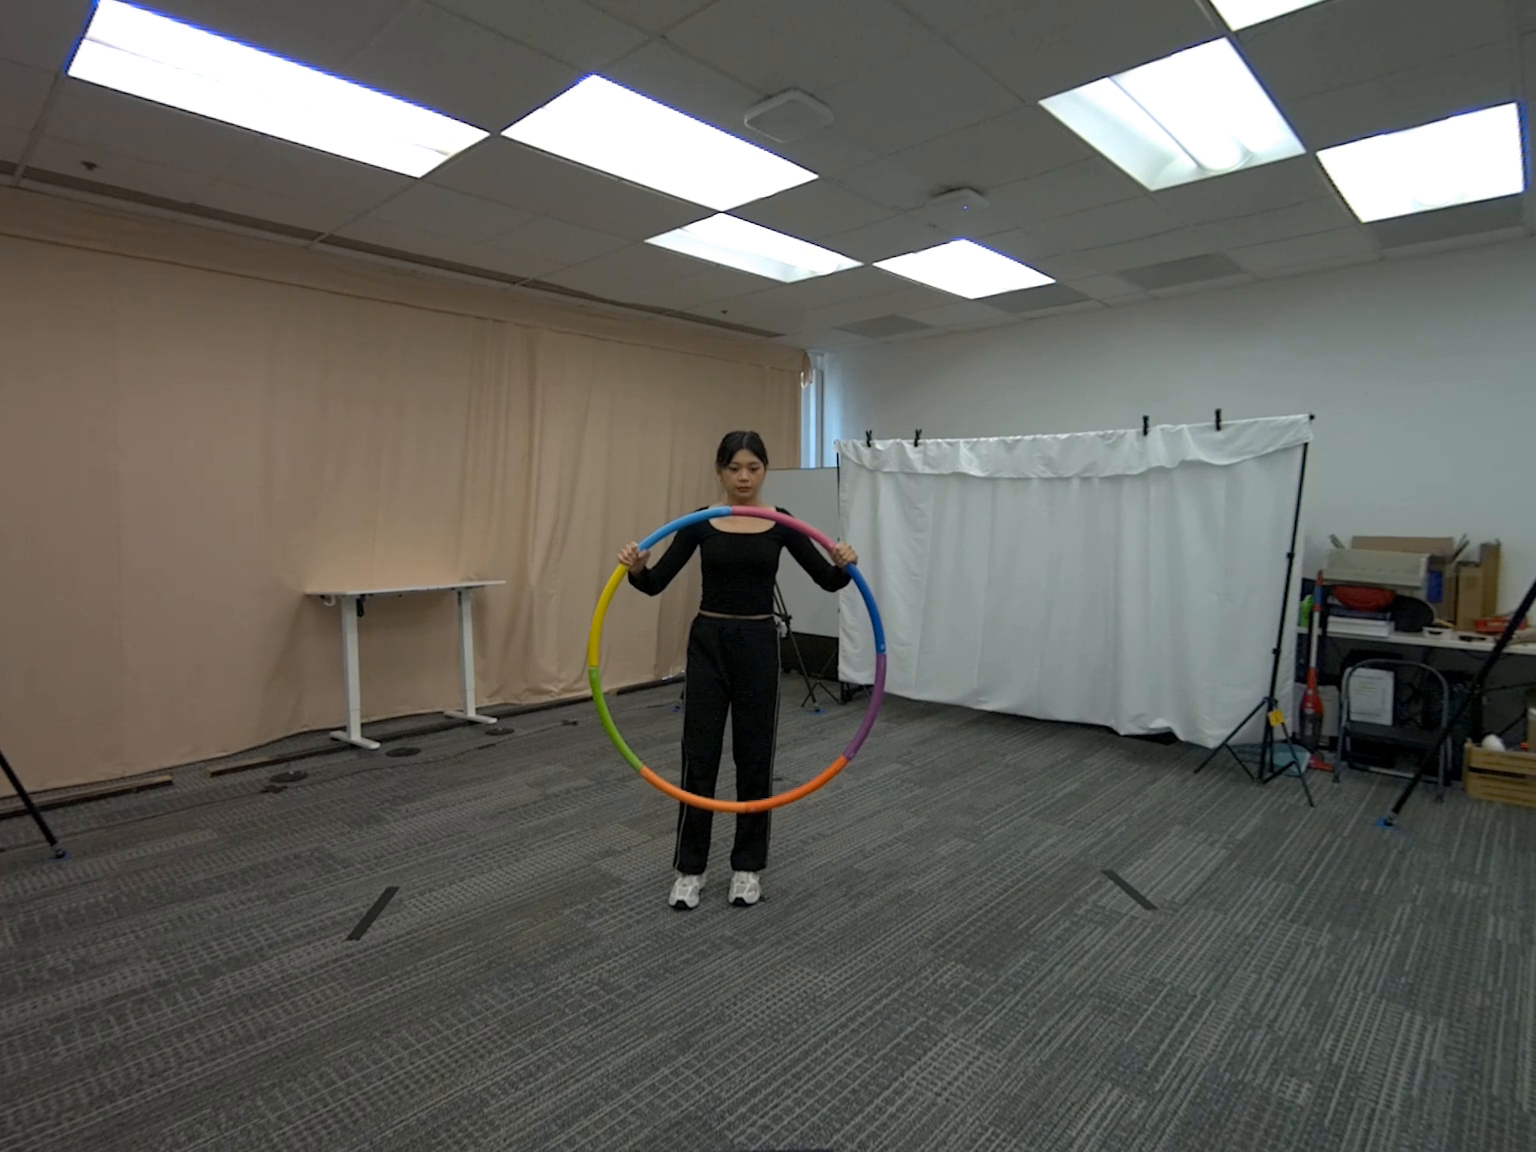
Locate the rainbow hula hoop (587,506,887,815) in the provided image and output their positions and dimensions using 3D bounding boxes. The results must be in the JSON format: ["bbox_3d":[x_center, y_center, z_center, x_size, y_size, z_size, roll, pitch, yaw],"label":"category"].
[{"bbox_3d":[-0.092,0.280,2.737,0.978,0.977,0.035,0,2,0],"label":"rainbow hula hoop"}]
